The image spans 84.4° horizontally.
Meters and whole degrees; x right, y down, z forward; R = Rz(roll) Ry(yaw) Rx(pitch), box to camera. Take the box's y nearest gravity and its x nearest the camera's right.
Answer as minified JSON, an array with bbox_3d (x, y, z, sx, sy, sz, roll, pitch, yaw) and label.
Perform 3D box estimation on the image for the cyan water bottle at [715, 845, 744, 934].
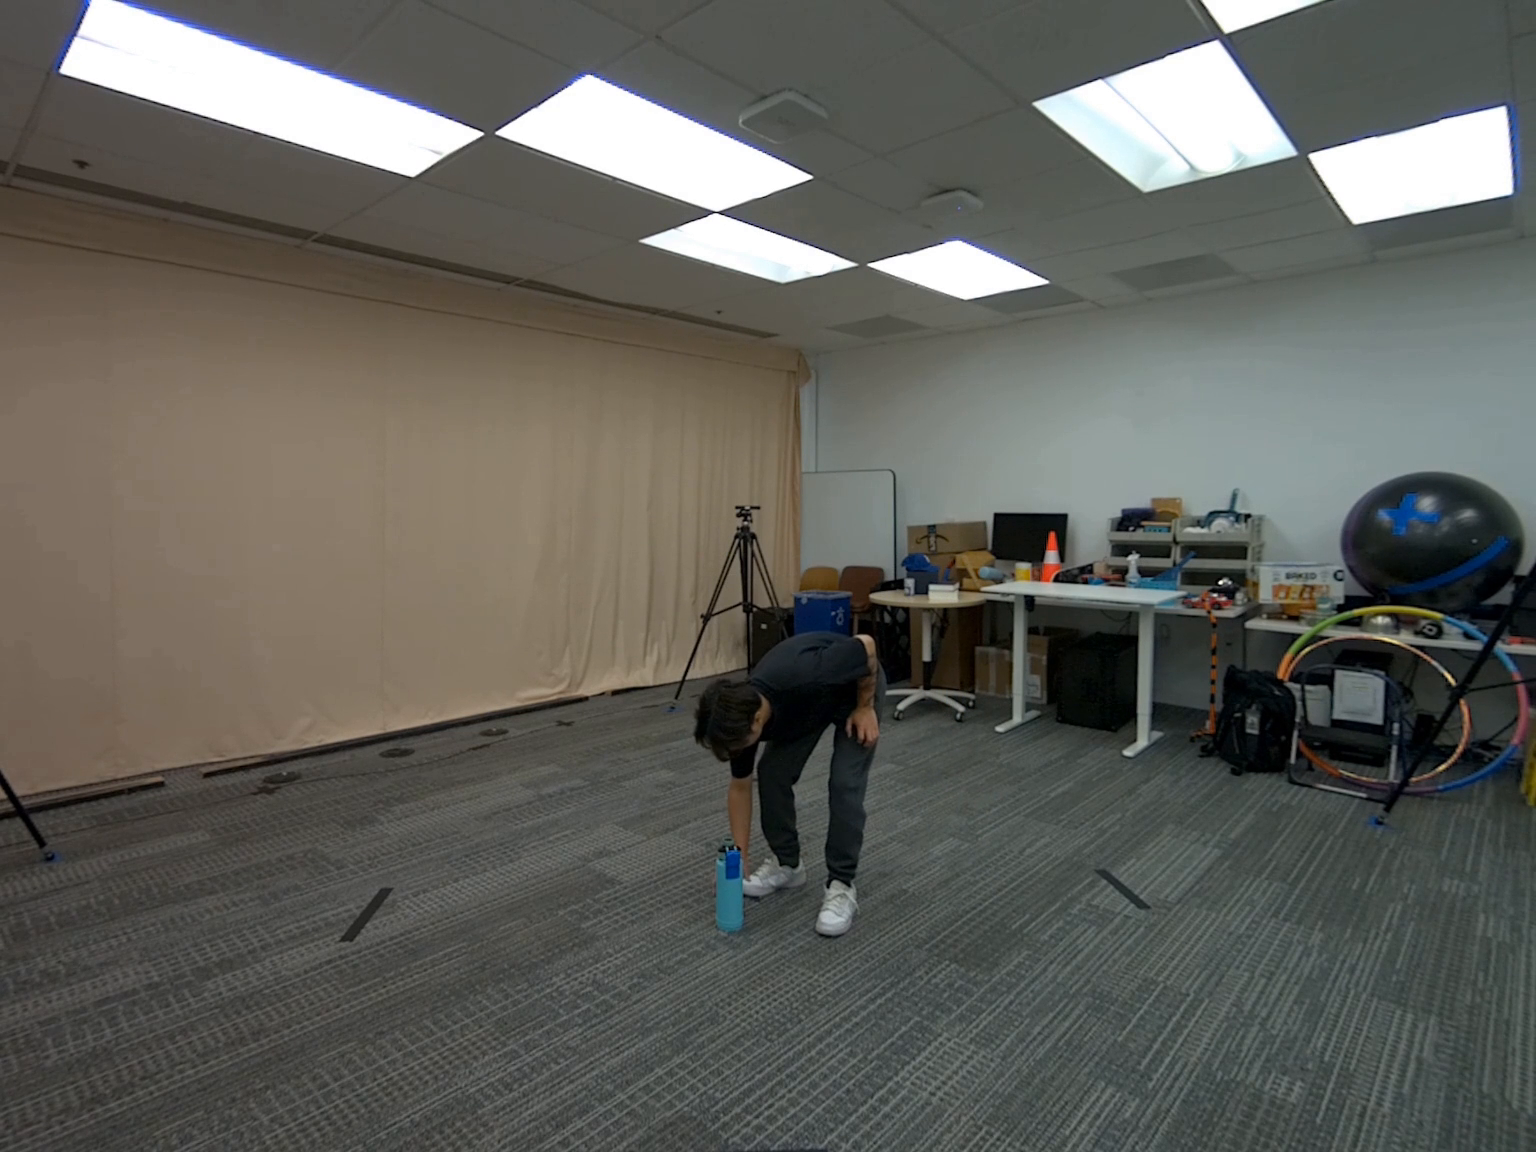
[{"bbox_3d":[-0.124,1.025,2.786,0.092,0.282,0.093,0,5,-2],"label":"cyan water bottle"}]
